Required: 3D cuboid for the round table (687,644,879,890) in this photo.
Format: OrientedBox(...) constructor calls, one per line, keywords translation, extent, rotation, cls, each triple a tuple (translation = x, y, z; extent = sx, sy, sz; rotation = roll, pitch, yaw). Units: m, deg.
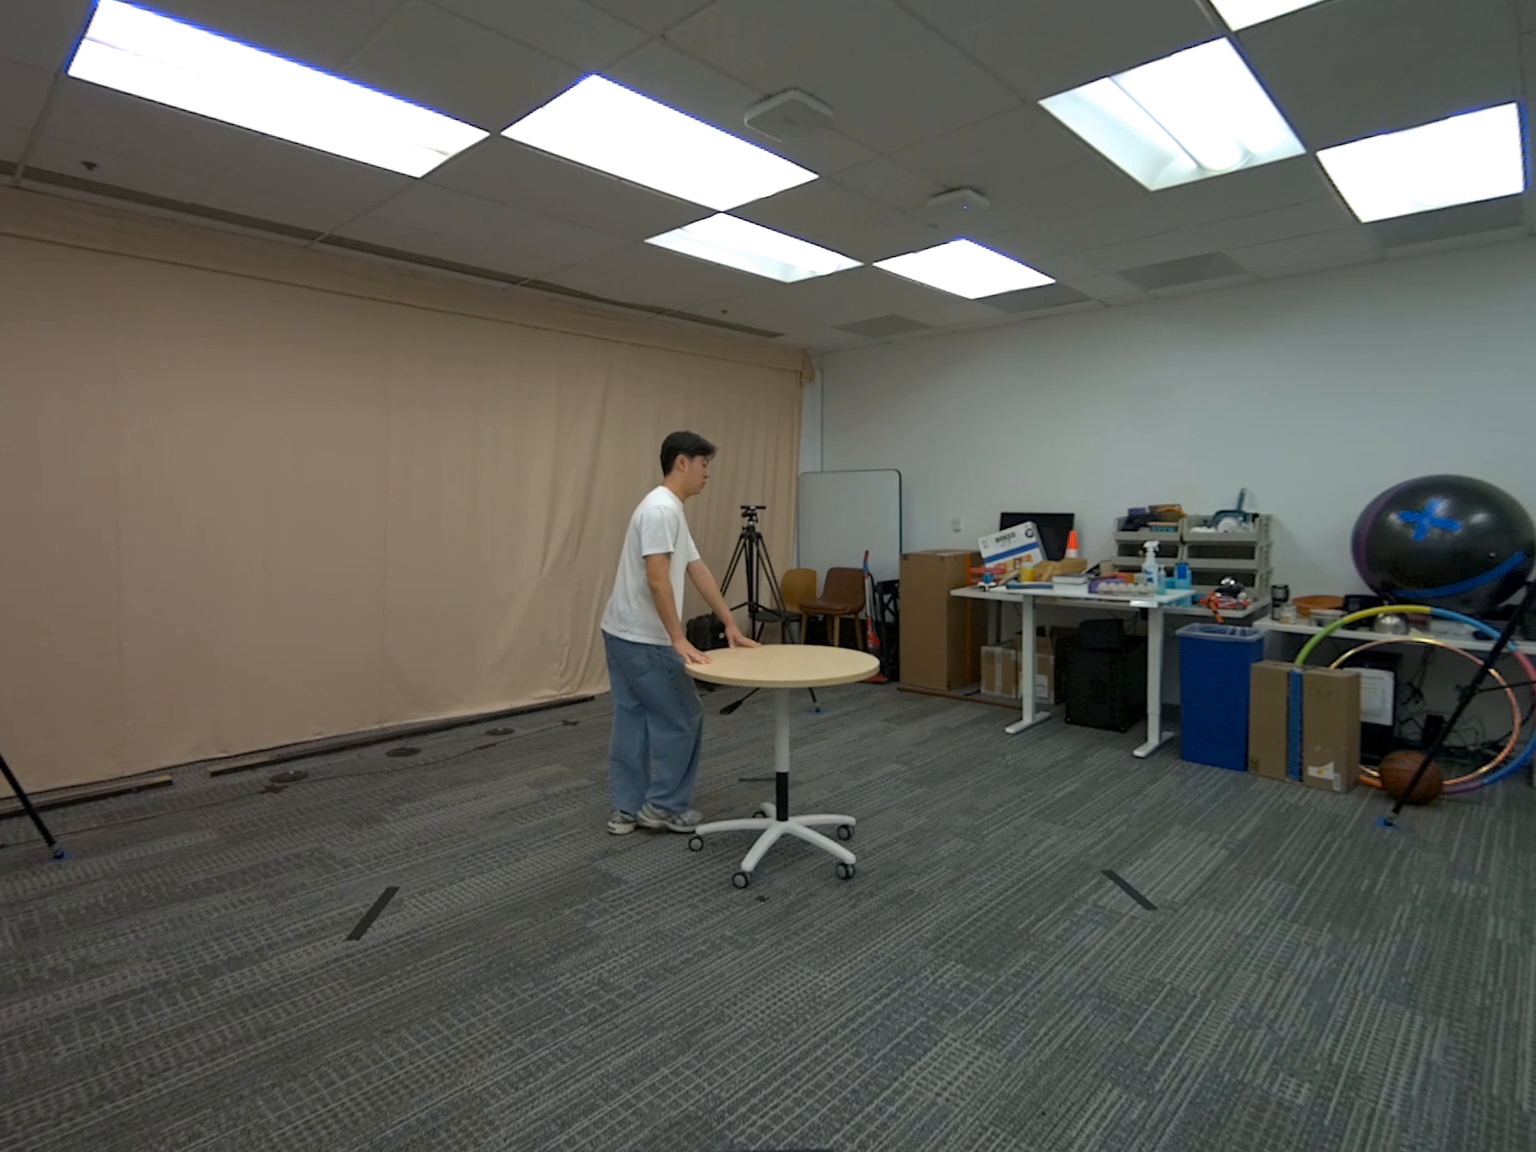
OrientedBox(translation=(0.050, 0.726, 3.342), extent=(0.763, 0.792, 0.766), rotation=(-1, 3, -2), cls="round table")
